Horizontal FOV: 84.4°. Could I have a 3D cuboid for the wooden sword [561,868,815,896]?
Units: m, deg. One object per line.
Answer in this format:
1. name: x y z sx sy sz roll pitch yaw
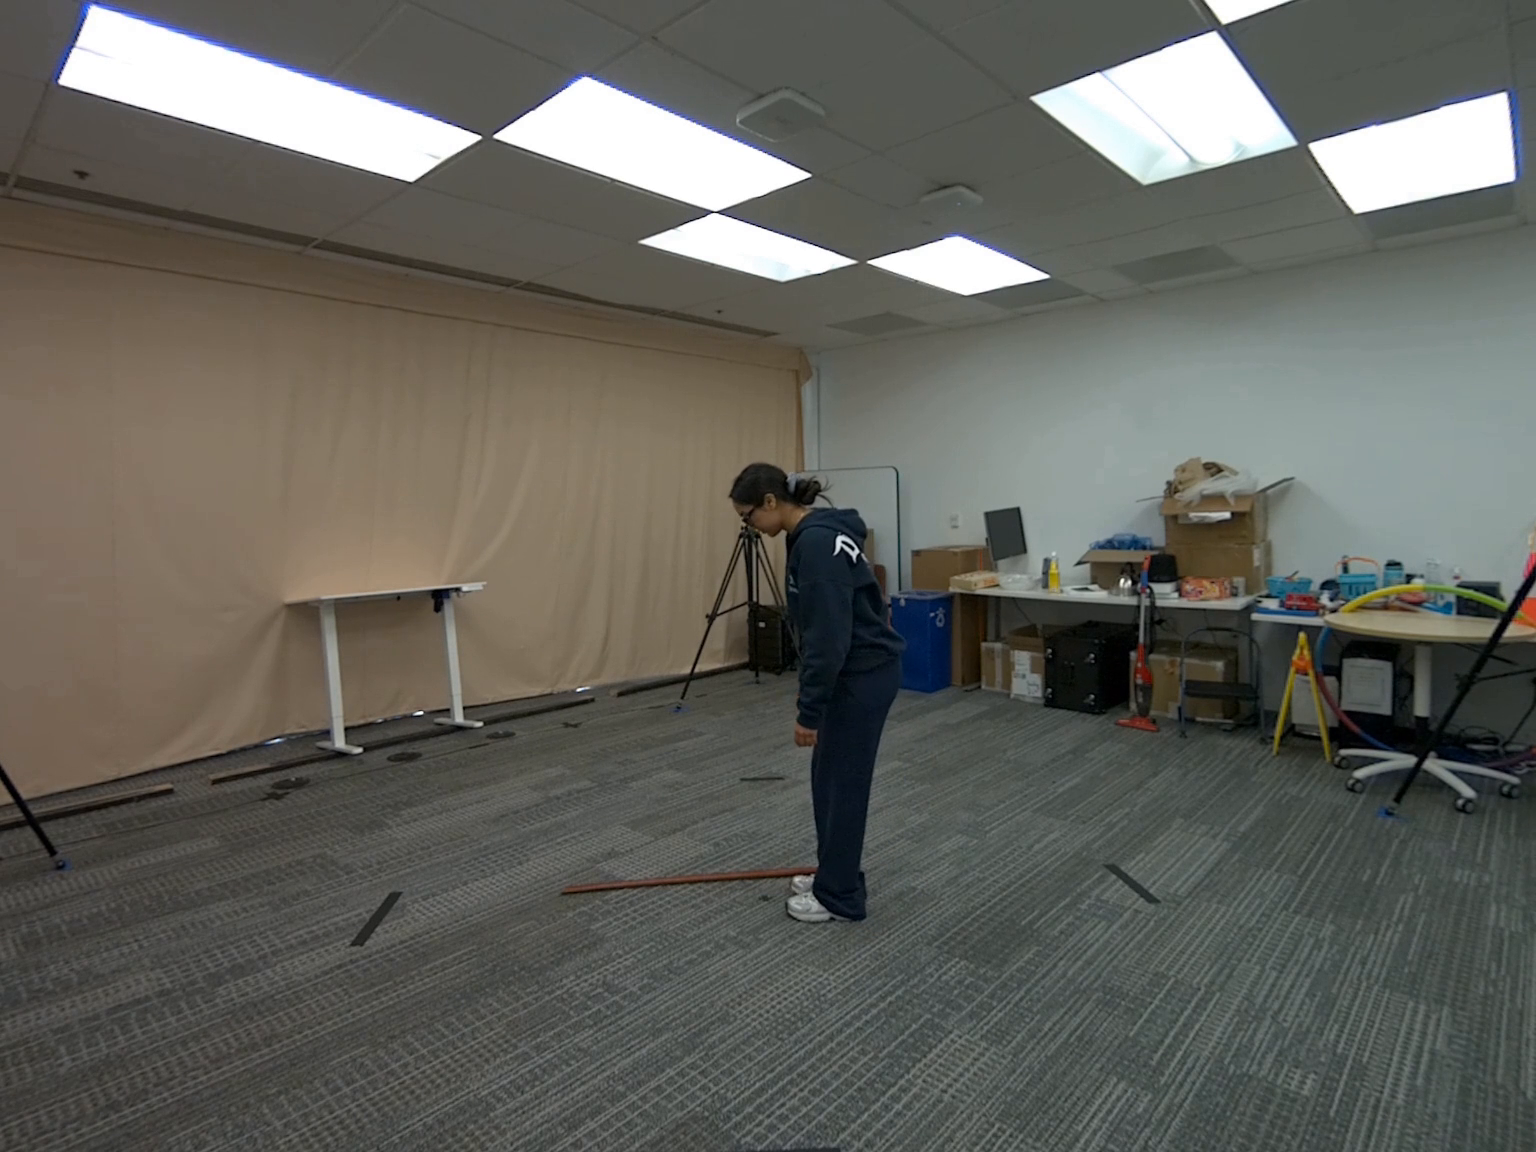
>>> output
1. wooden sword: -0.251 1.118 3.125 1.017 0.050 0.024 -3 38 -7
